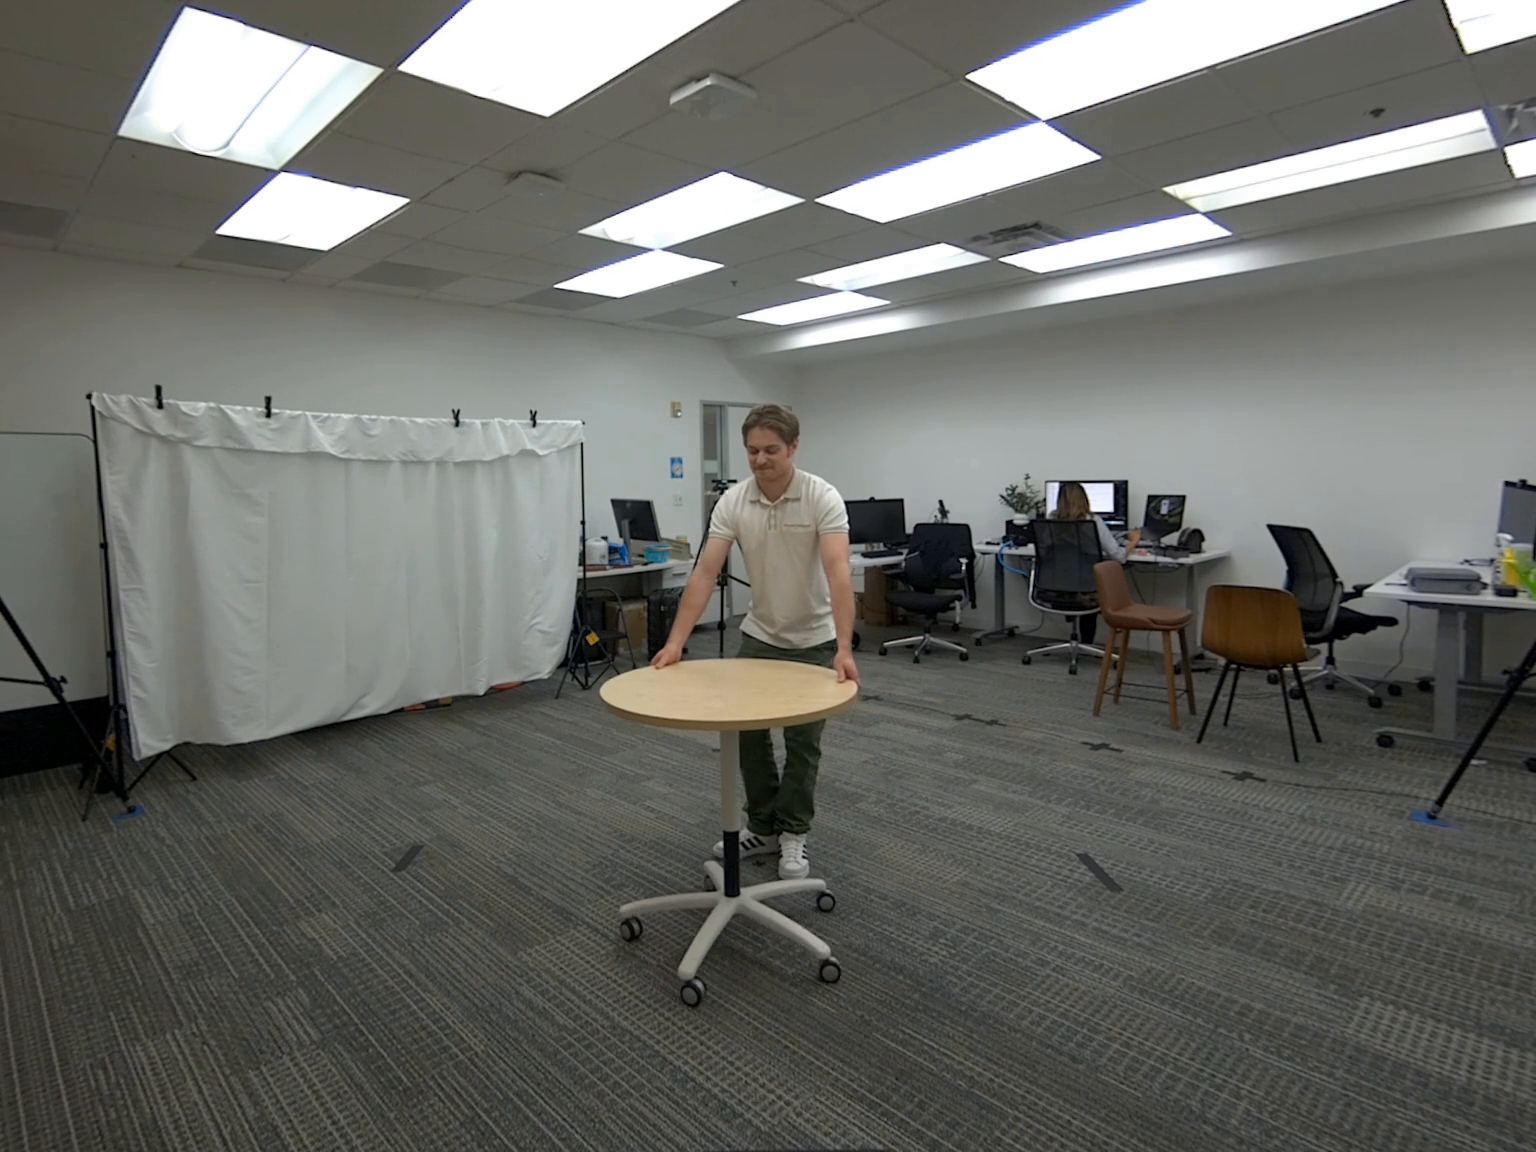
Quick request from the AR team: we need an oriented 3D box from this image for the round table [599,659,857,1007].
[{"bbox_3d":[-0.108,0.722,2.581,0.763,0.791,0.768,-2,5,-2],"label":"round table"}]
